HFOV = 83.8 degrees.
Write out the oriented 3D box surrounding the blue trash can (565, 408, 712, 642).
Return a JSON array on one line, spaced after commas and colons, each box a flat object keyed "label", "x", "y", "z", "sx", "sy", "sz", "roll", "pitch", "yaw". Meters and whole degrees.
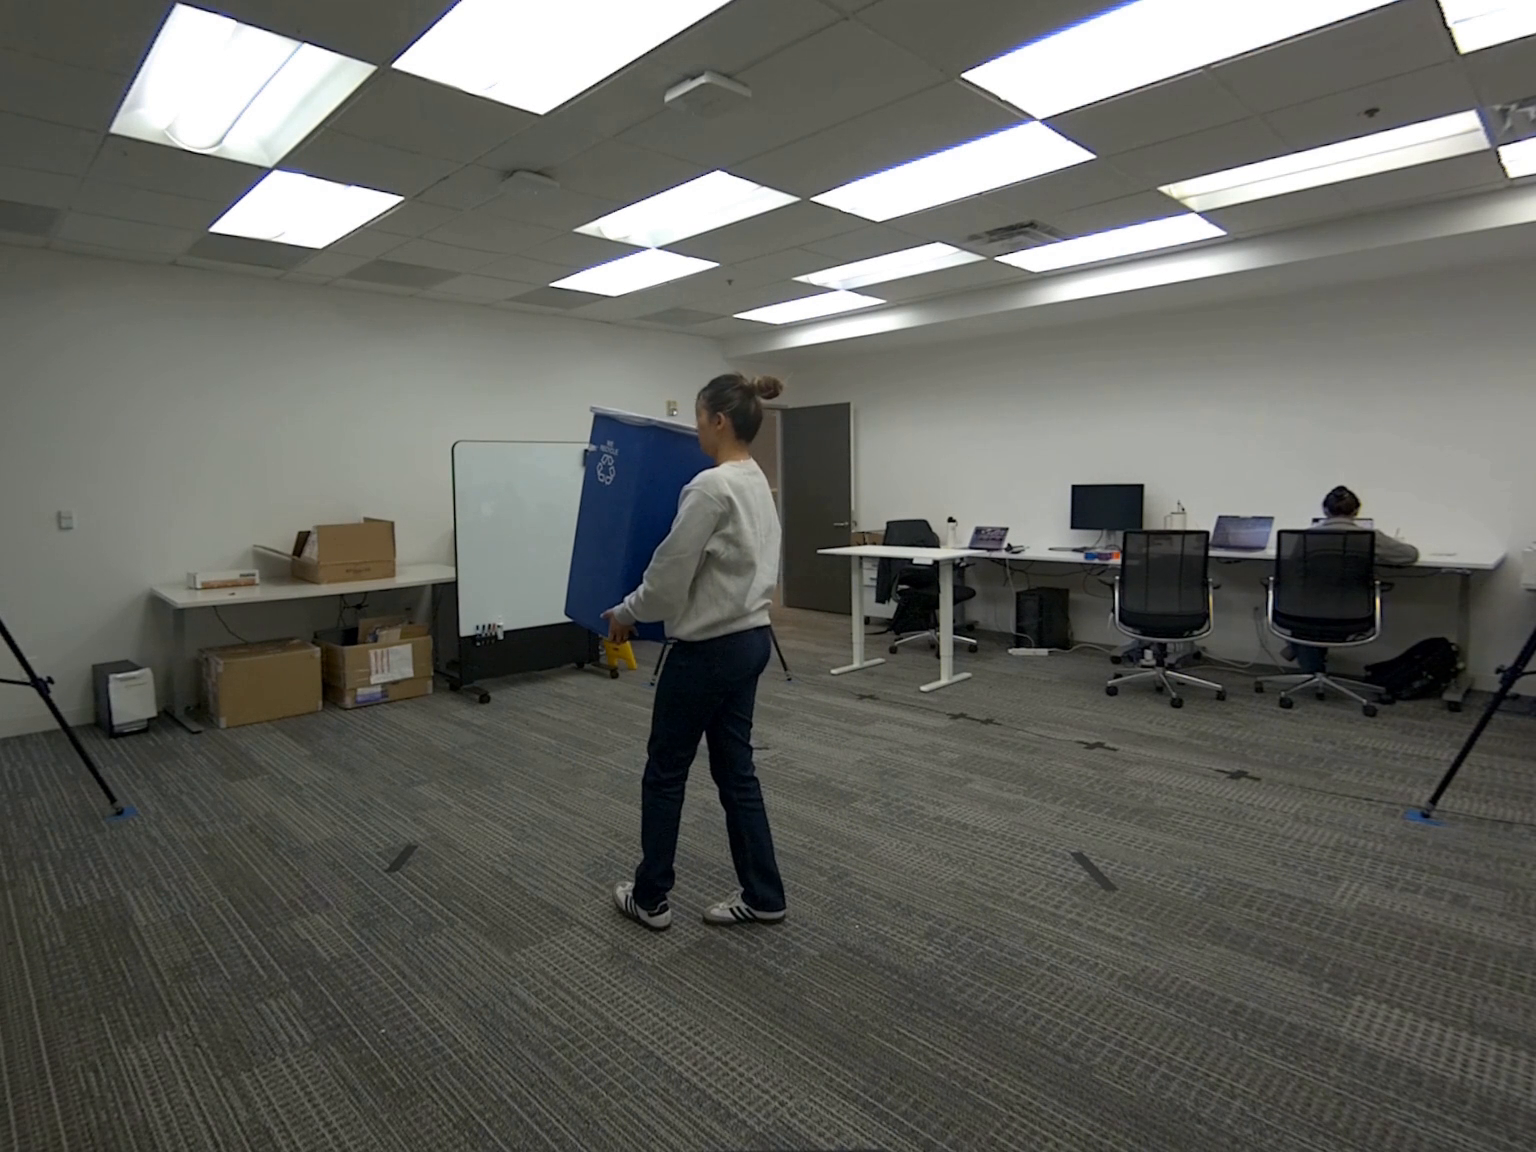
[{"label": "blue trash can", "x": -0.413, "y": -0.172, "z": 2.853, "sx": 0.366, "sy": 0.710, "sz": 0.388, "roll": 5, "pitch": 10, "yaw": -45}]
